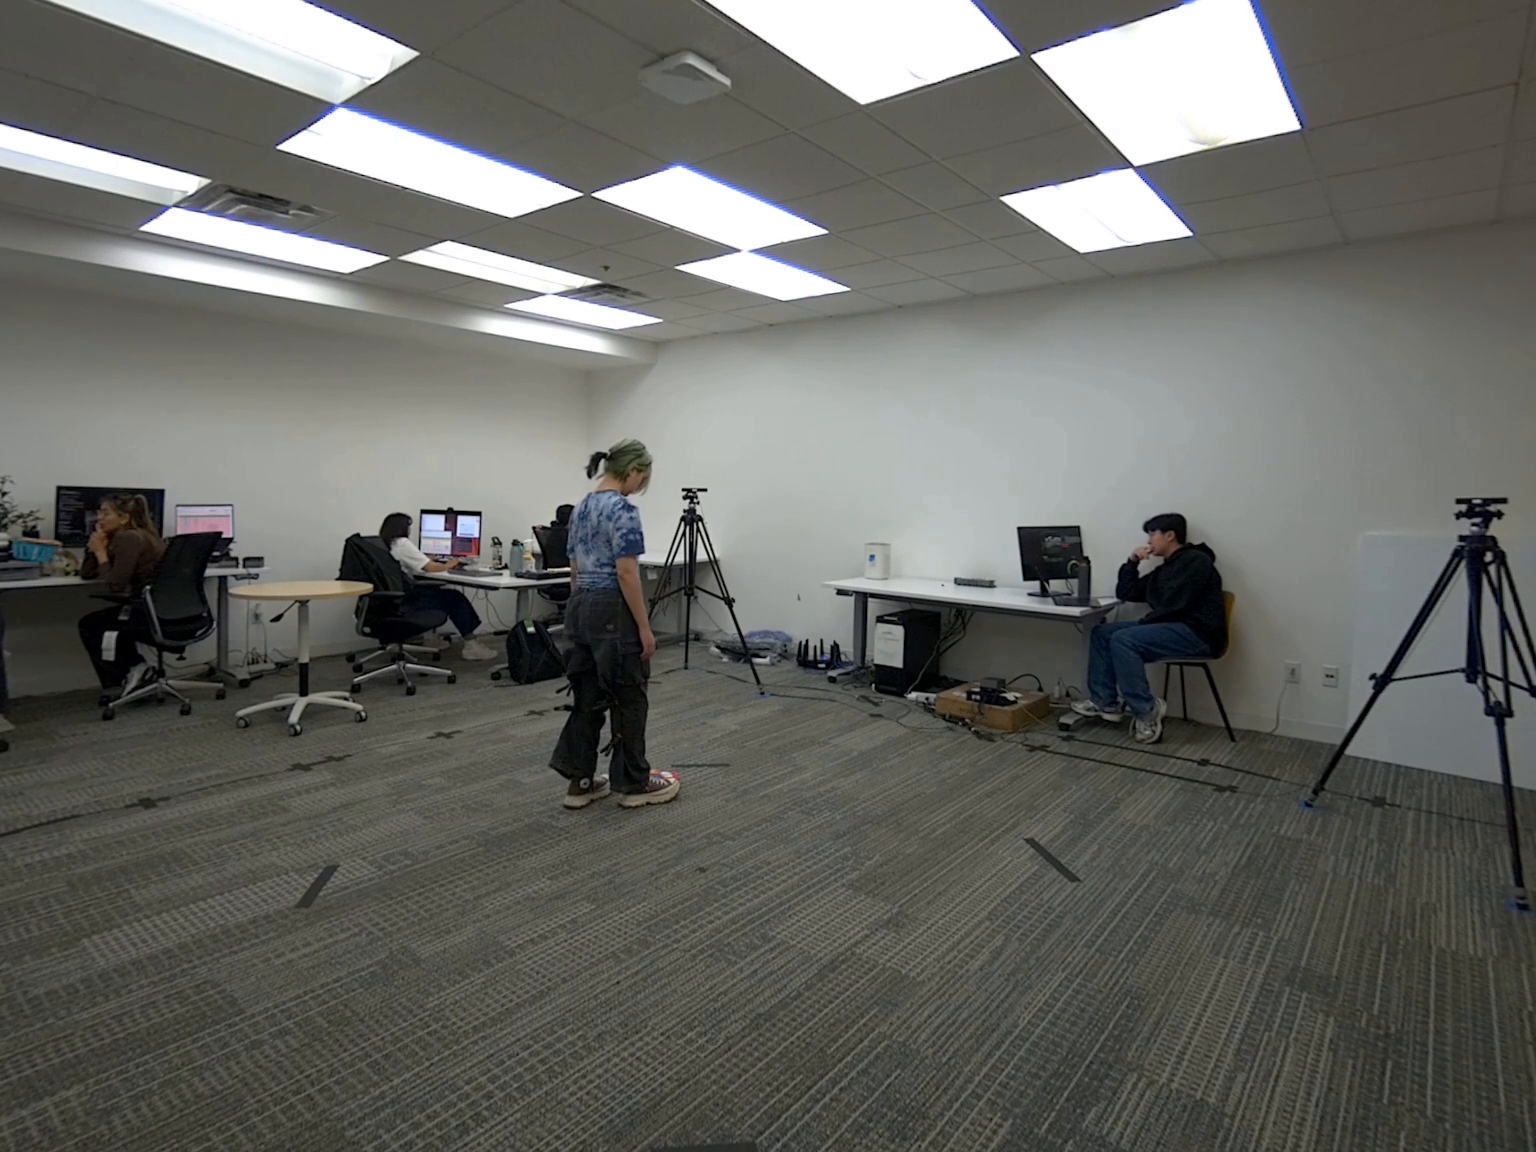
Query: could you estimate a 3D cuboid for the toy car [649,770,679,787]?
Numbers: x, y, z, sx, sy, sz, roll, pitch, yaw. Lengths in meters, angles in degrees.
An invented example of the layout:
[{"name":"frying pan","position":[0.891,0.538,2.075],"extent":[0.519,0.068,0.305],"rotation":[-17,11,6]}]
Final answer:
[{"name":"toy car","position":[-0.563,0.943,3.963],"extent":[0.251,0.083,0.132],"rotation":[11,2,-12]}]
